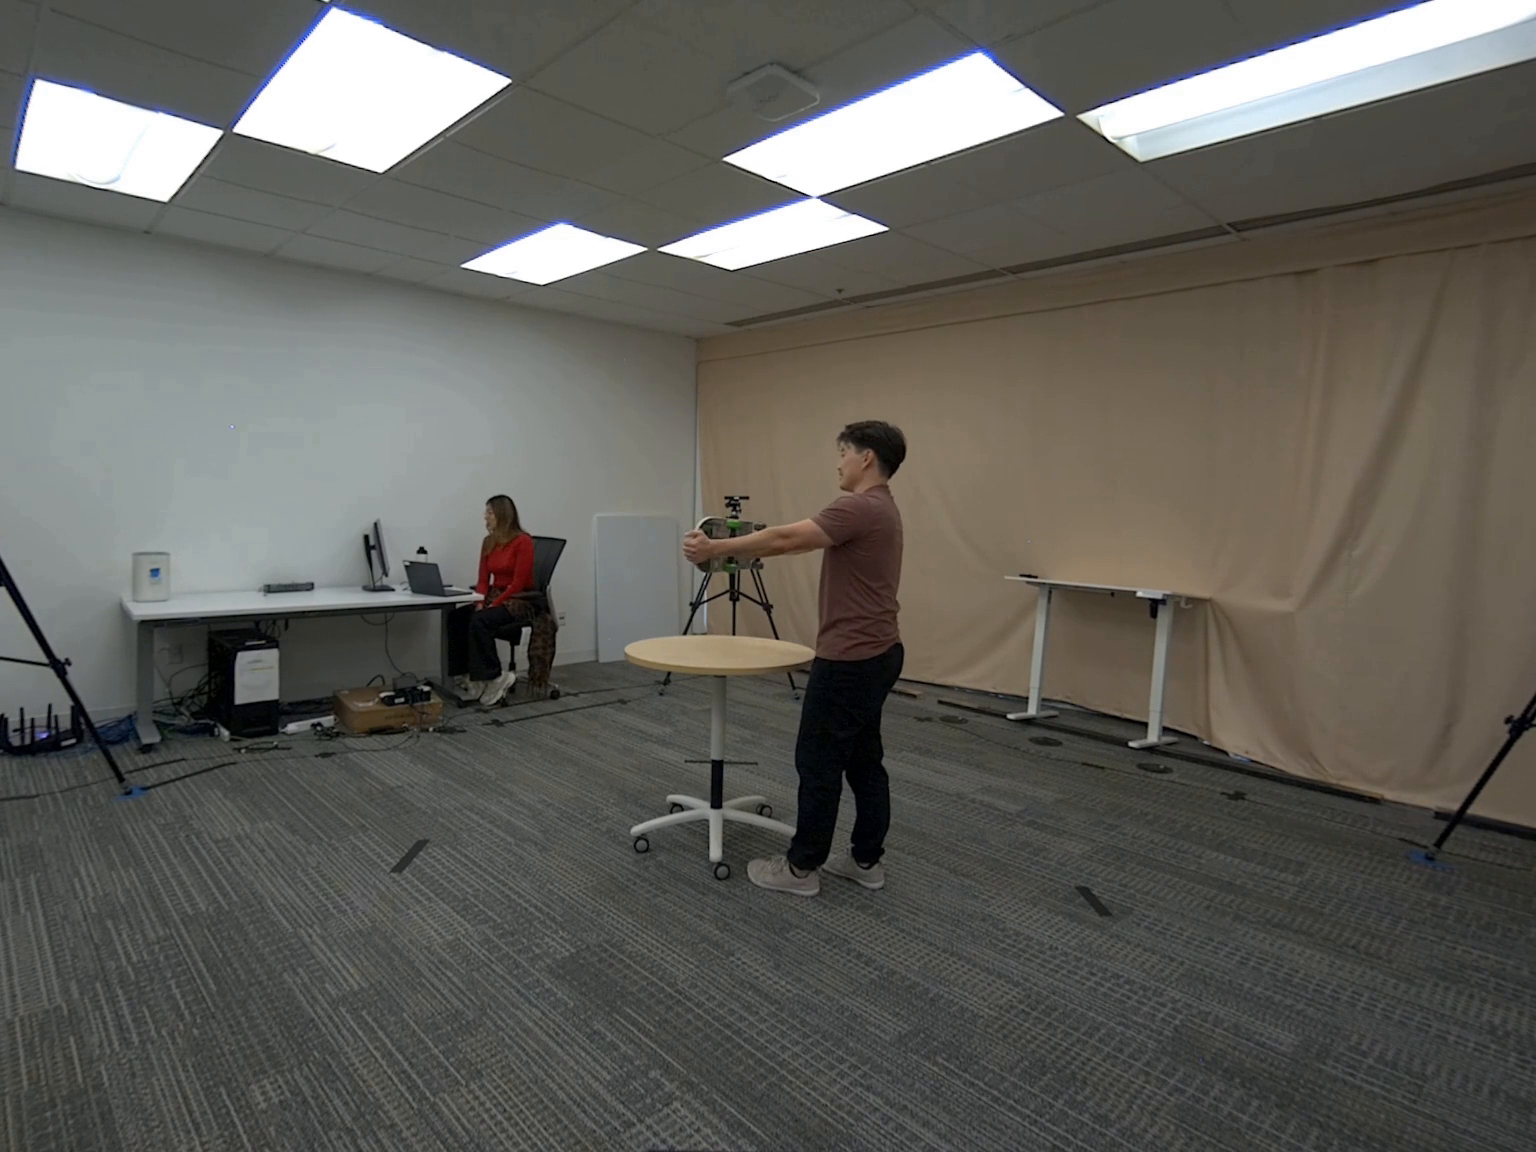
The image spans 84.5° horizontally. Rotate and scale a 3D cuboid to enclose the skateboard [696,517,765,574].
[{"bbox_3d":[-0.113,-0.105,3.092,0.112,0.193,0.776,6,3,15],"label":"skateboard"}]
